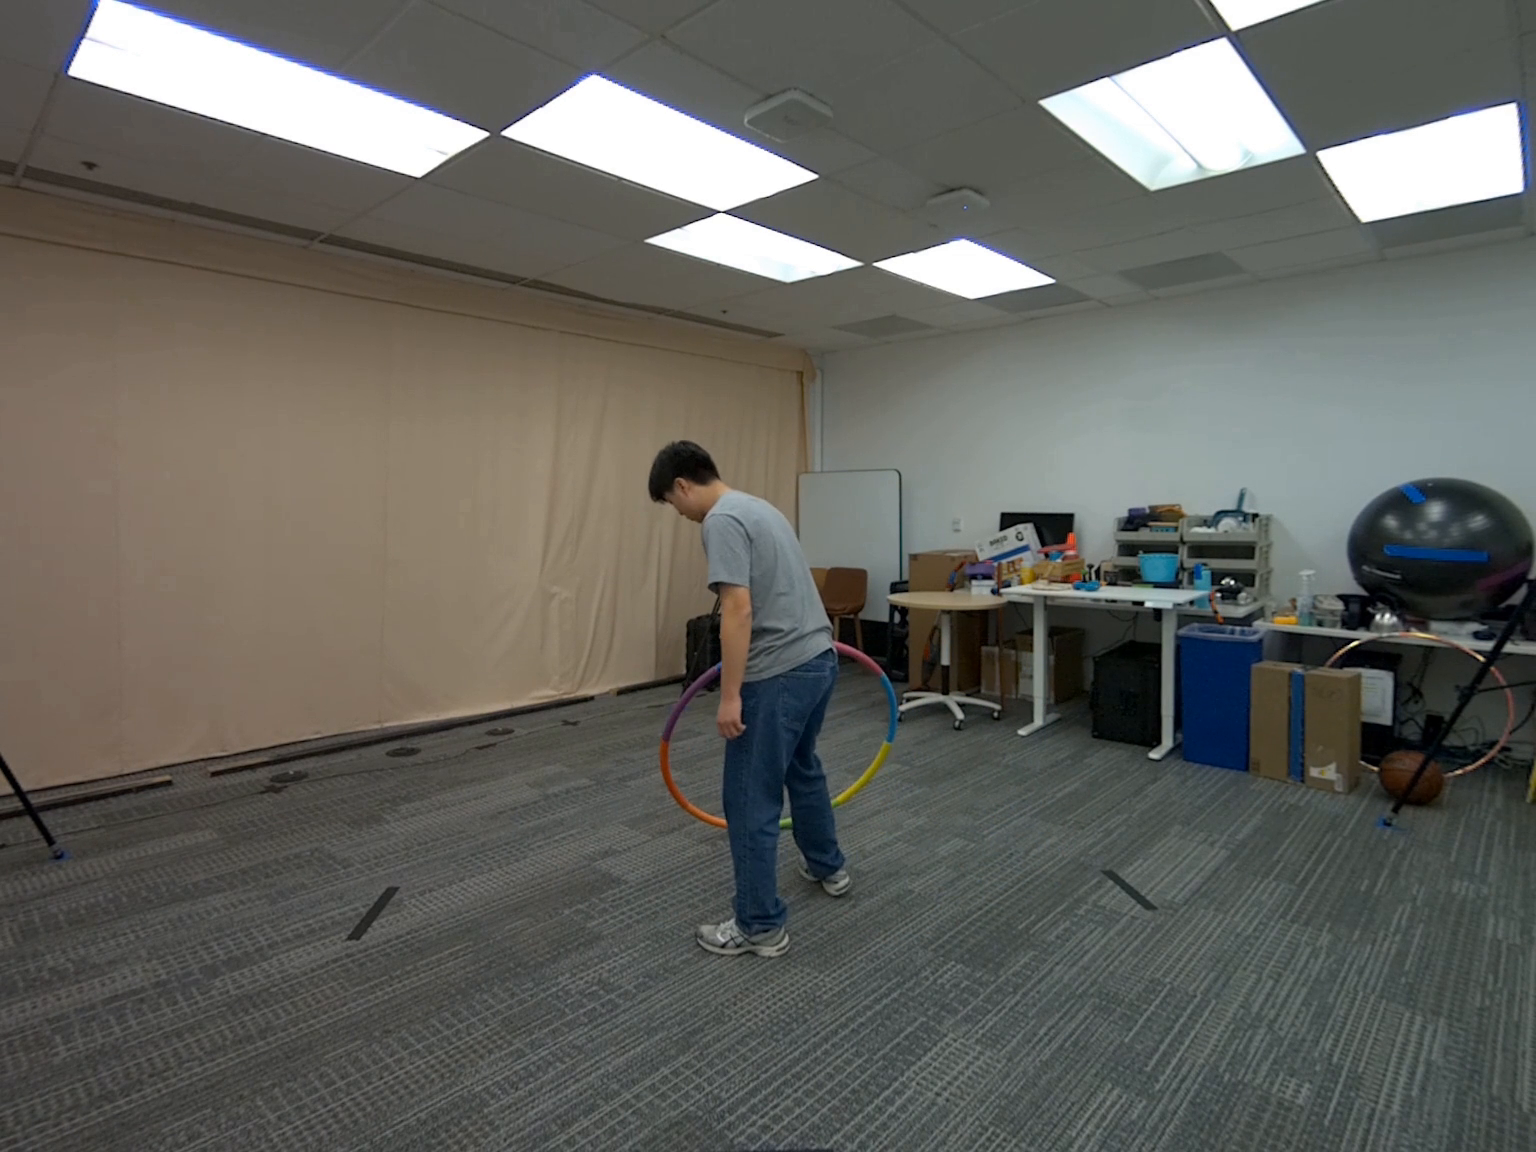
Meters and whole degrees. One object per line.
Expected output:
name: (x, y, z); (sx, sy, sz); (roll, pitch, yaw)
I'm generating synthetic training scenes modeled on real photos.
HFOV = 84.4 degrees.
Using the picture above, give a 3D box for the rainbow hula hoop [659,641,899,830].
rainbow hula hoop: (0.062, 0.666, 3.403); (0.965, 0.966, 0.036); (0, 29, -14)
